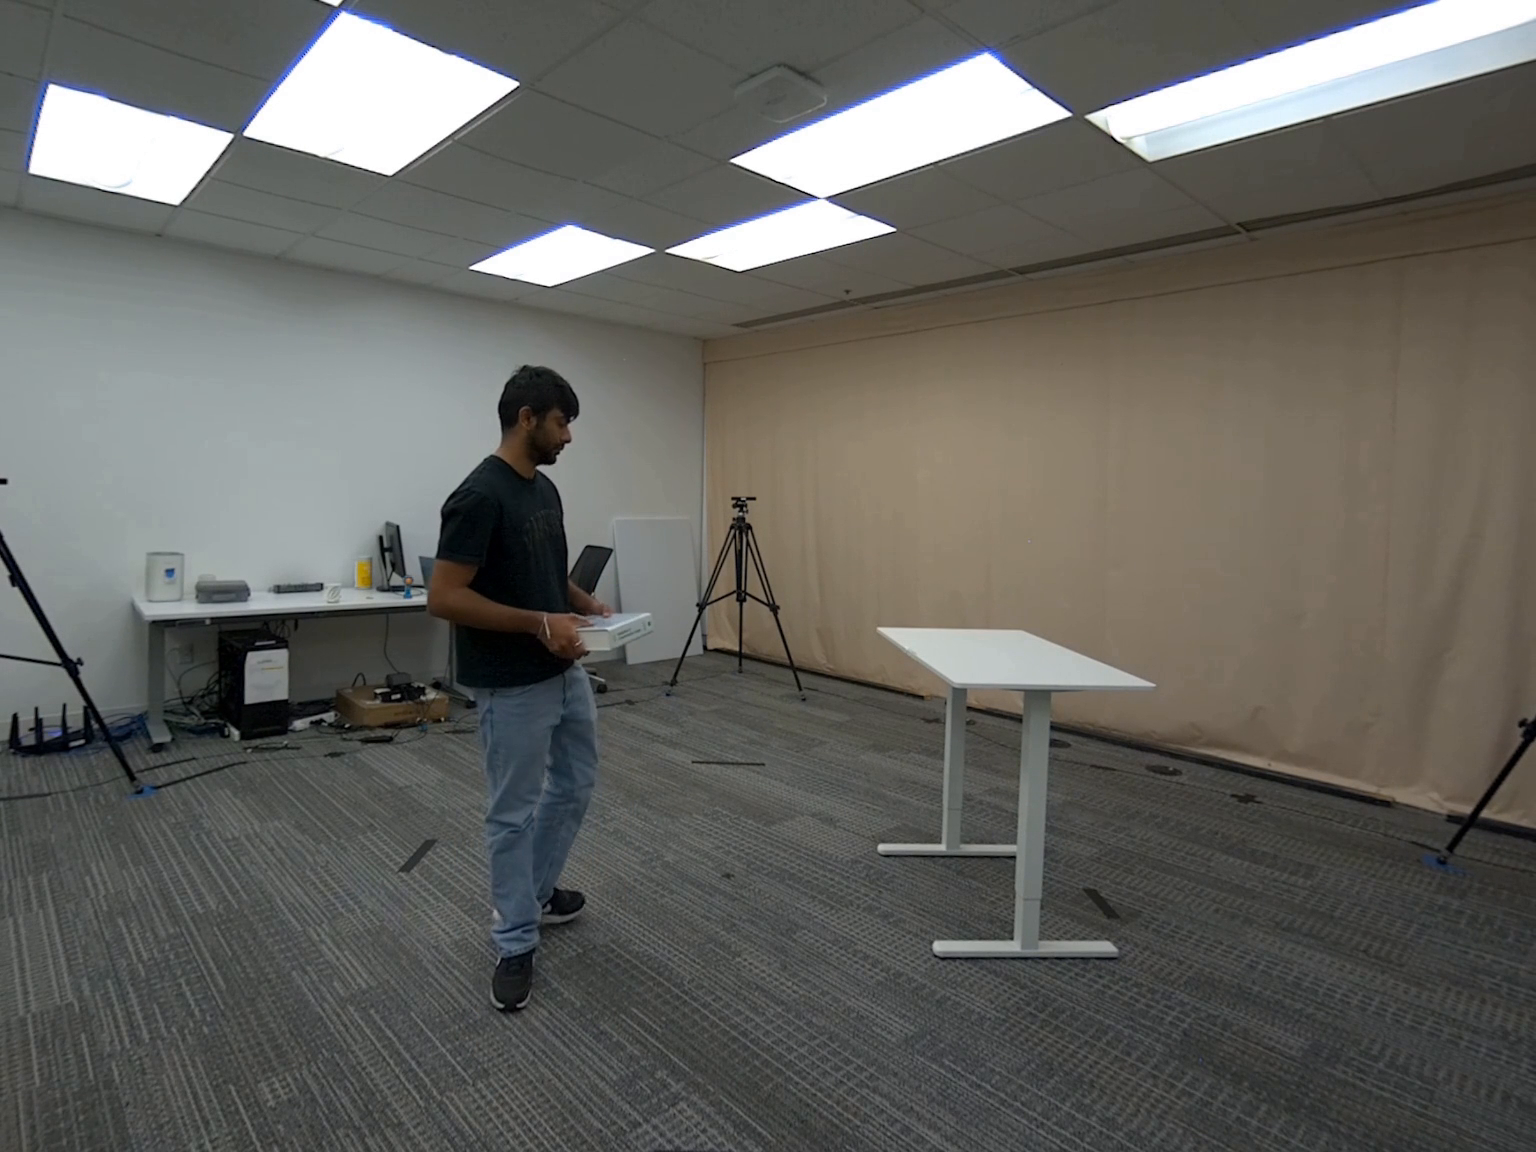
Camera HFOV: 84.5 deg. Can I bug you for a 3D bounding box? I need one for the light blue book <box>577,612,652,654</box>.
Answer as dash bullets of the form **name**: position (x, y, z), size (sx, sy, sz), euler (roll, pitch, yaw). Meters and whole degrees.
- **light blue book**: position (-0.480, 0.154, 2.310), size (0.194, 0.059, 0.258), euler (-2, 5, 16)
